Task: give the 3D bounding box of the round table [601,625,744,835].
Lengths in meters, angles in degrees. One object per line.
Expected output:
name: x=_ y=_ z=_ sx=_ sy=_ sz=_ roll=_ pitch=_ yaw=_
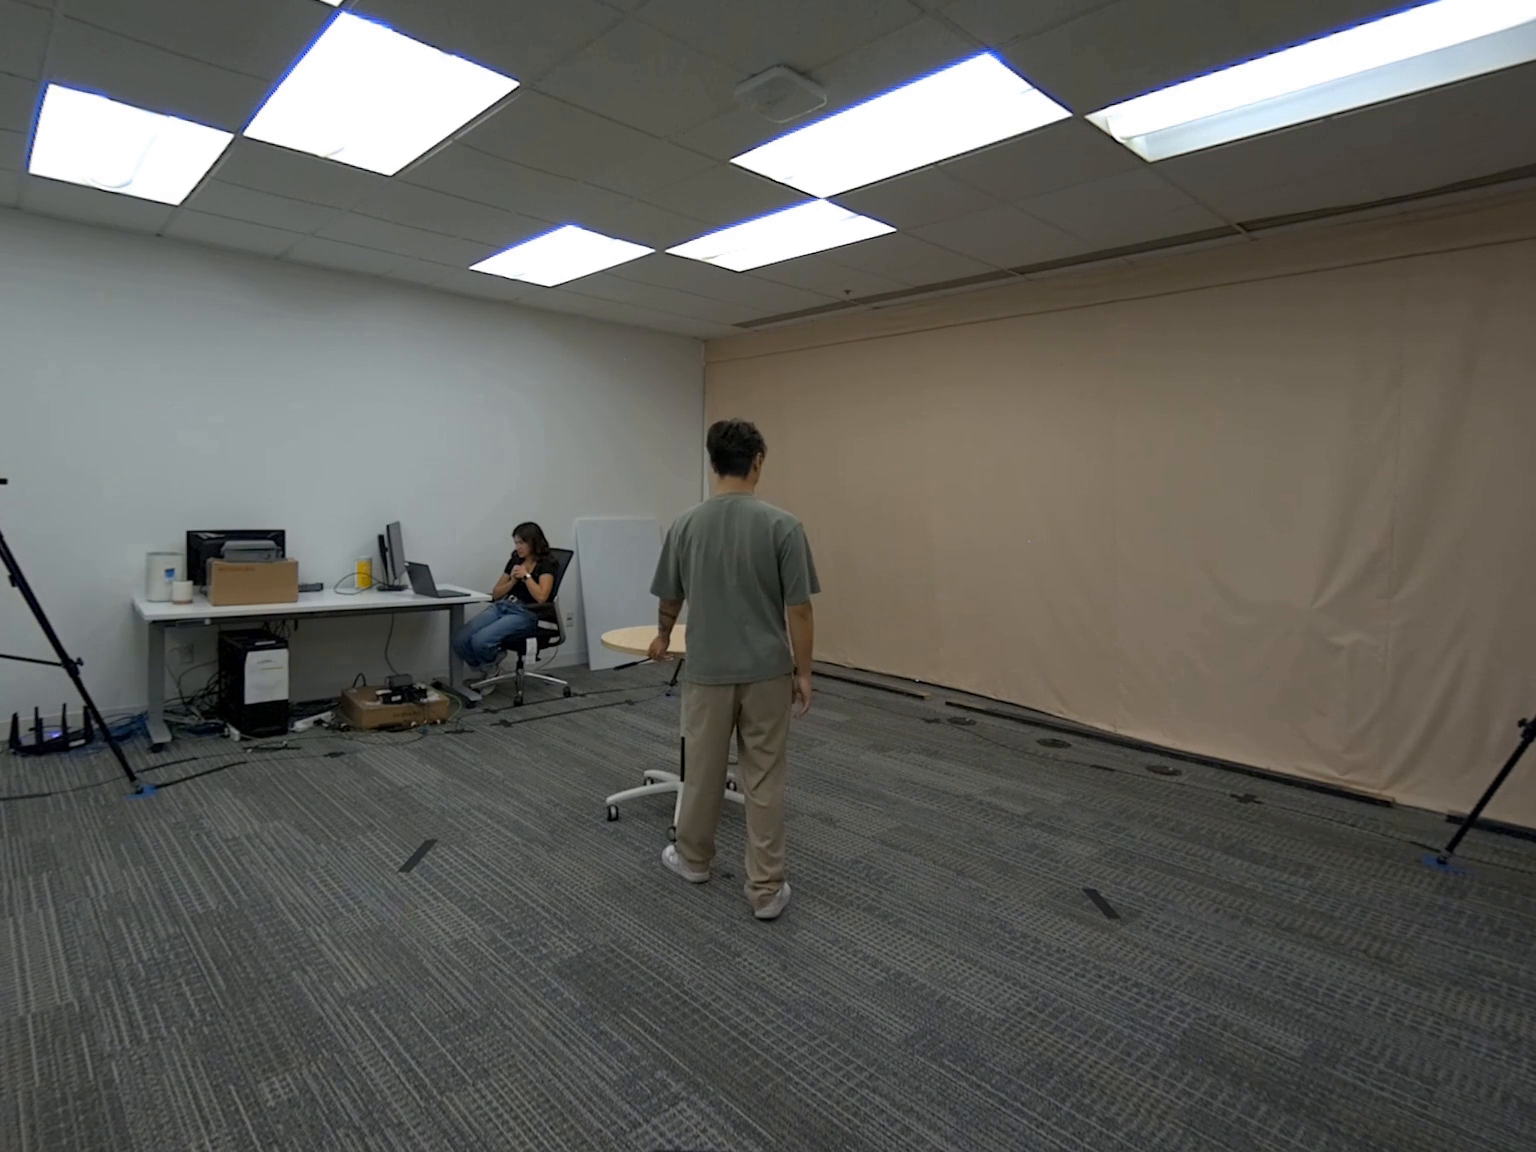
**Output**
round table: x=-0.355 y=0.659 z=3.727 sx=0.784 sy=0.784 sz=0.788 roll=1 pitch=4 yaw=-1
